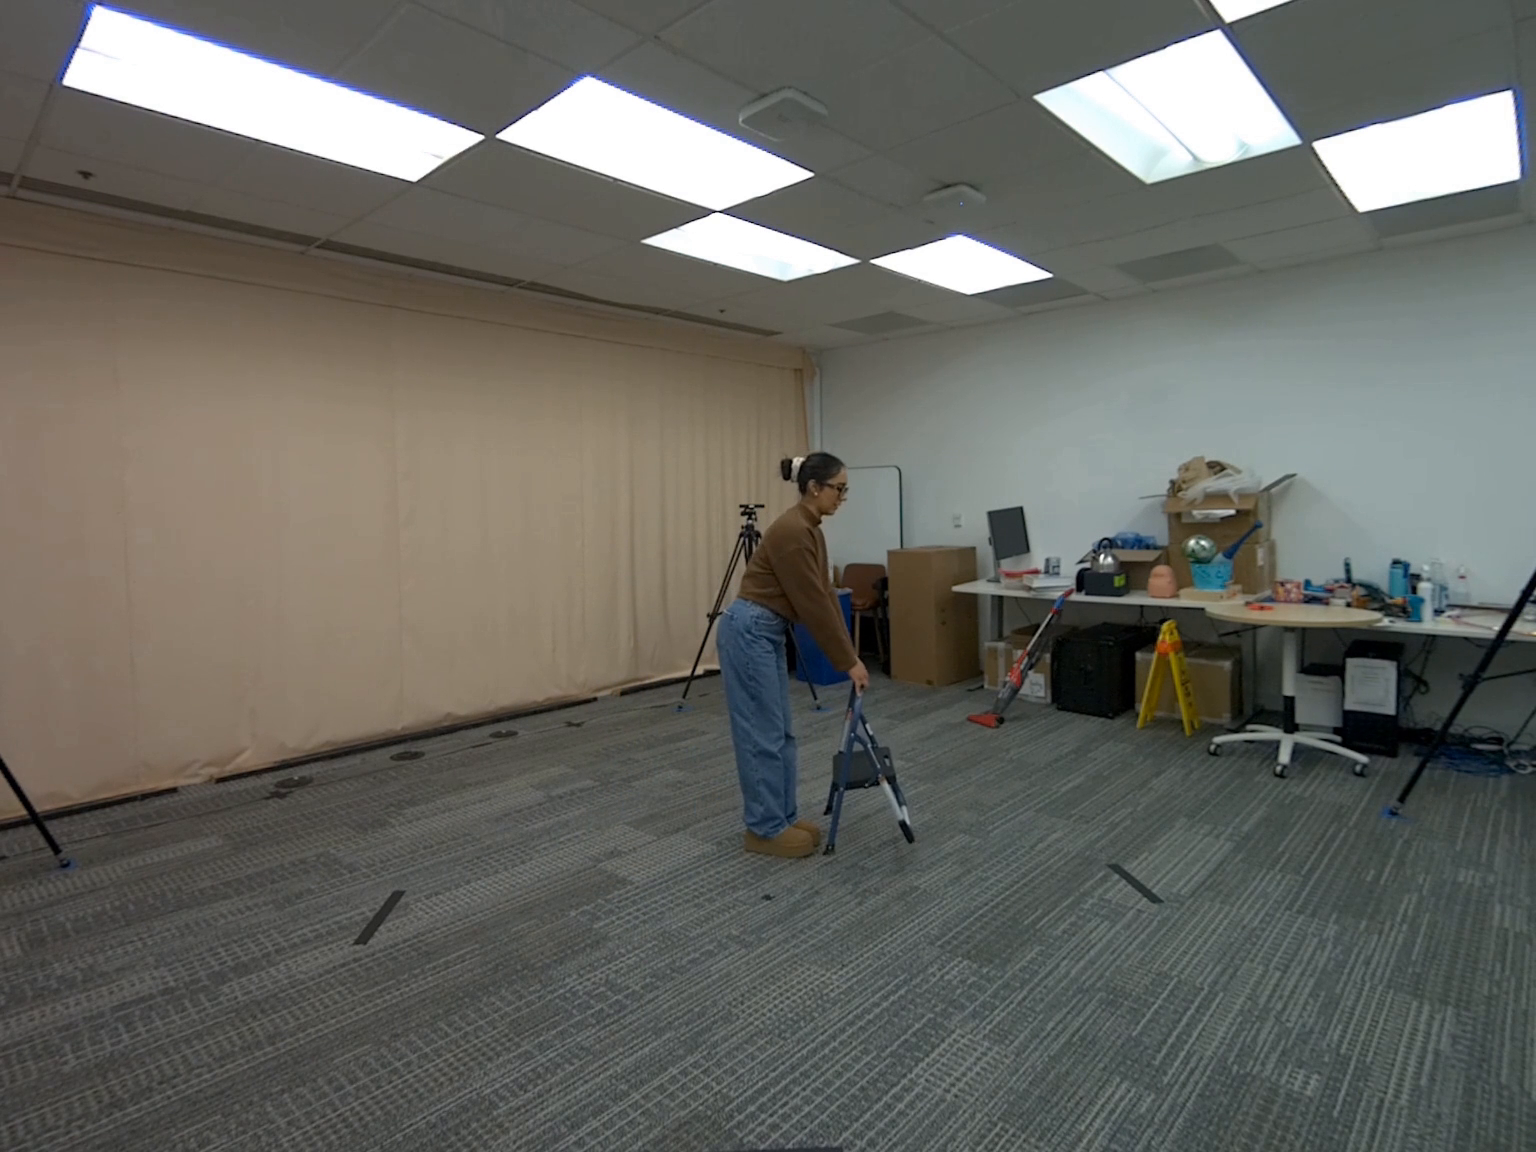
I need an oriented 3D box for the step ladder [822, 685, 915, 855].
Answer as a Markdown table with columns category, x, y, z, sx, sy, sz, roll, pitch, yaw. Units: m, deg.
| category | x | y | z | sx | sy | sz | roll | pitch | yaw |
| --- | --- | --- | --- | --- | --- | --- | --- | --- | --- |
| step ladder | 0.348 | 0.719 | 3.373 | 0.352 | 0.604 | 0.429 | -11 | 4 | 7 |
